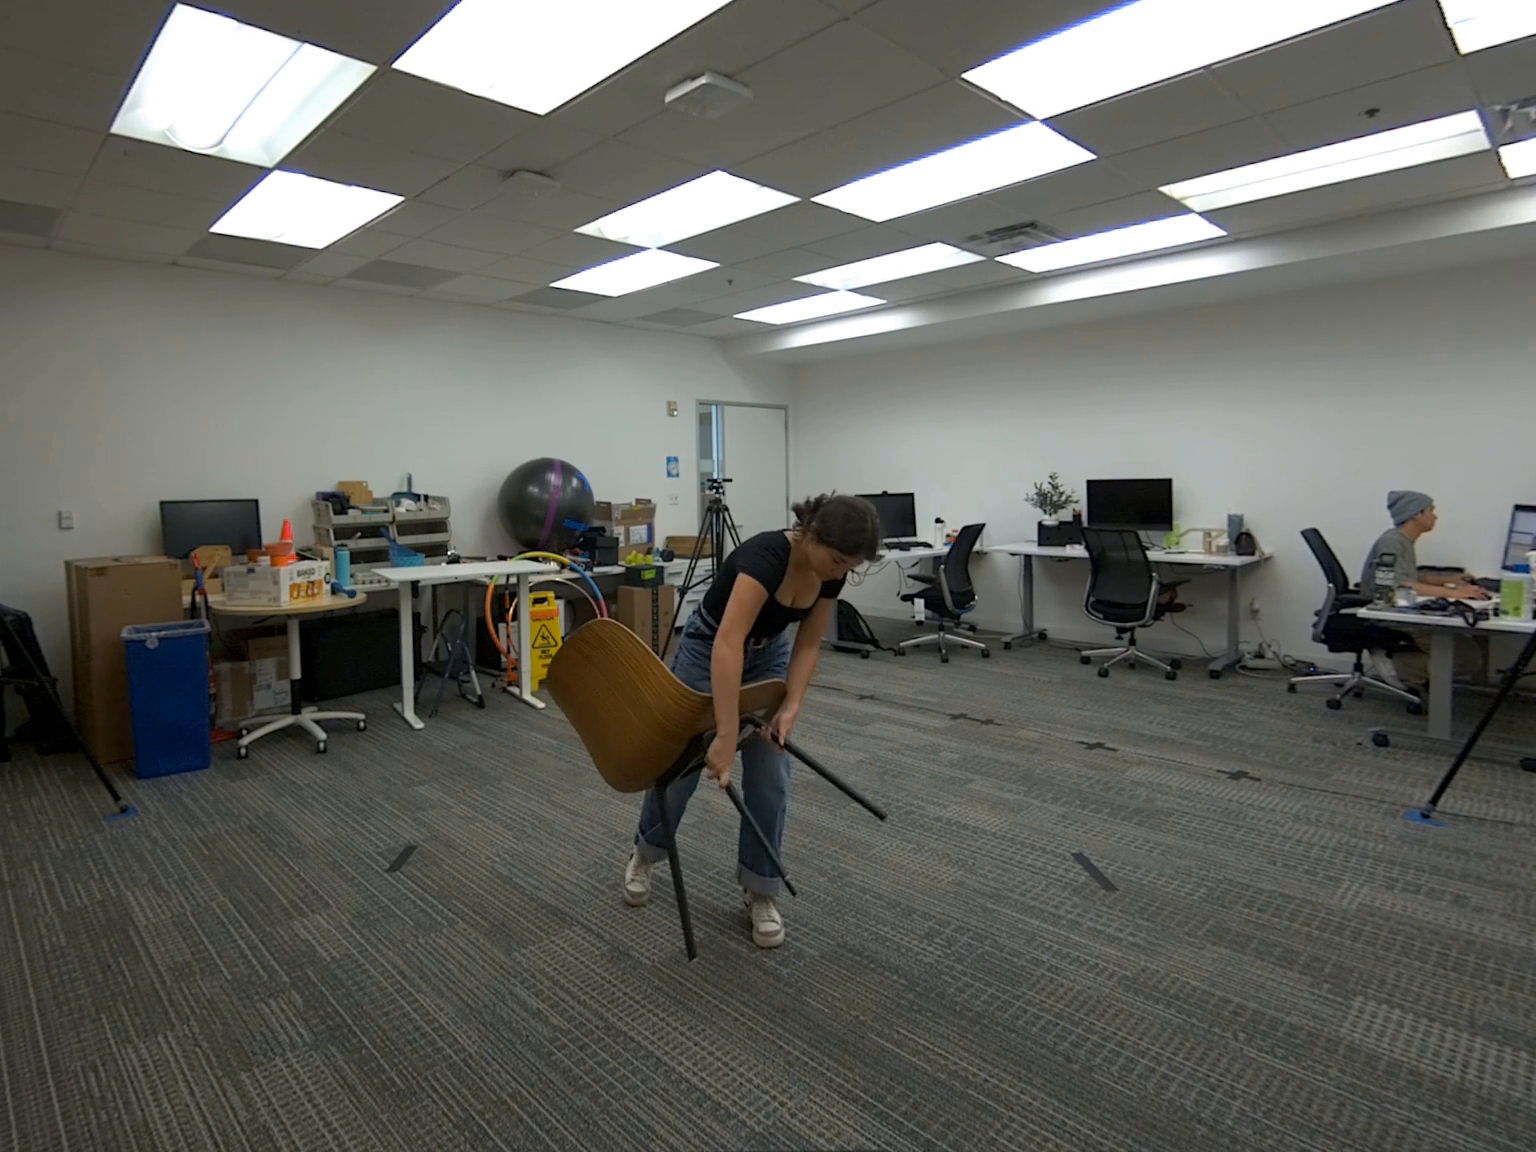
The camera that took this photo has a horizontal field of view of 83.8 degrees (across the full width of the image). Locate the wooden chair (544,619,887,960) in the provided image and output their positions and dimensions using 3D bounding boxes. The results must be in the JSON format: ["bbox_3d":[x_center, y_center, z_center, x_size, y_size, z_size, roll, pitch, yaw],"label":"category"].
[{"bbox_3d":[-0.181,0.505,2.409,0.511,0.476,0.902,-12,55,-51],"label":"wooden chair"}]
